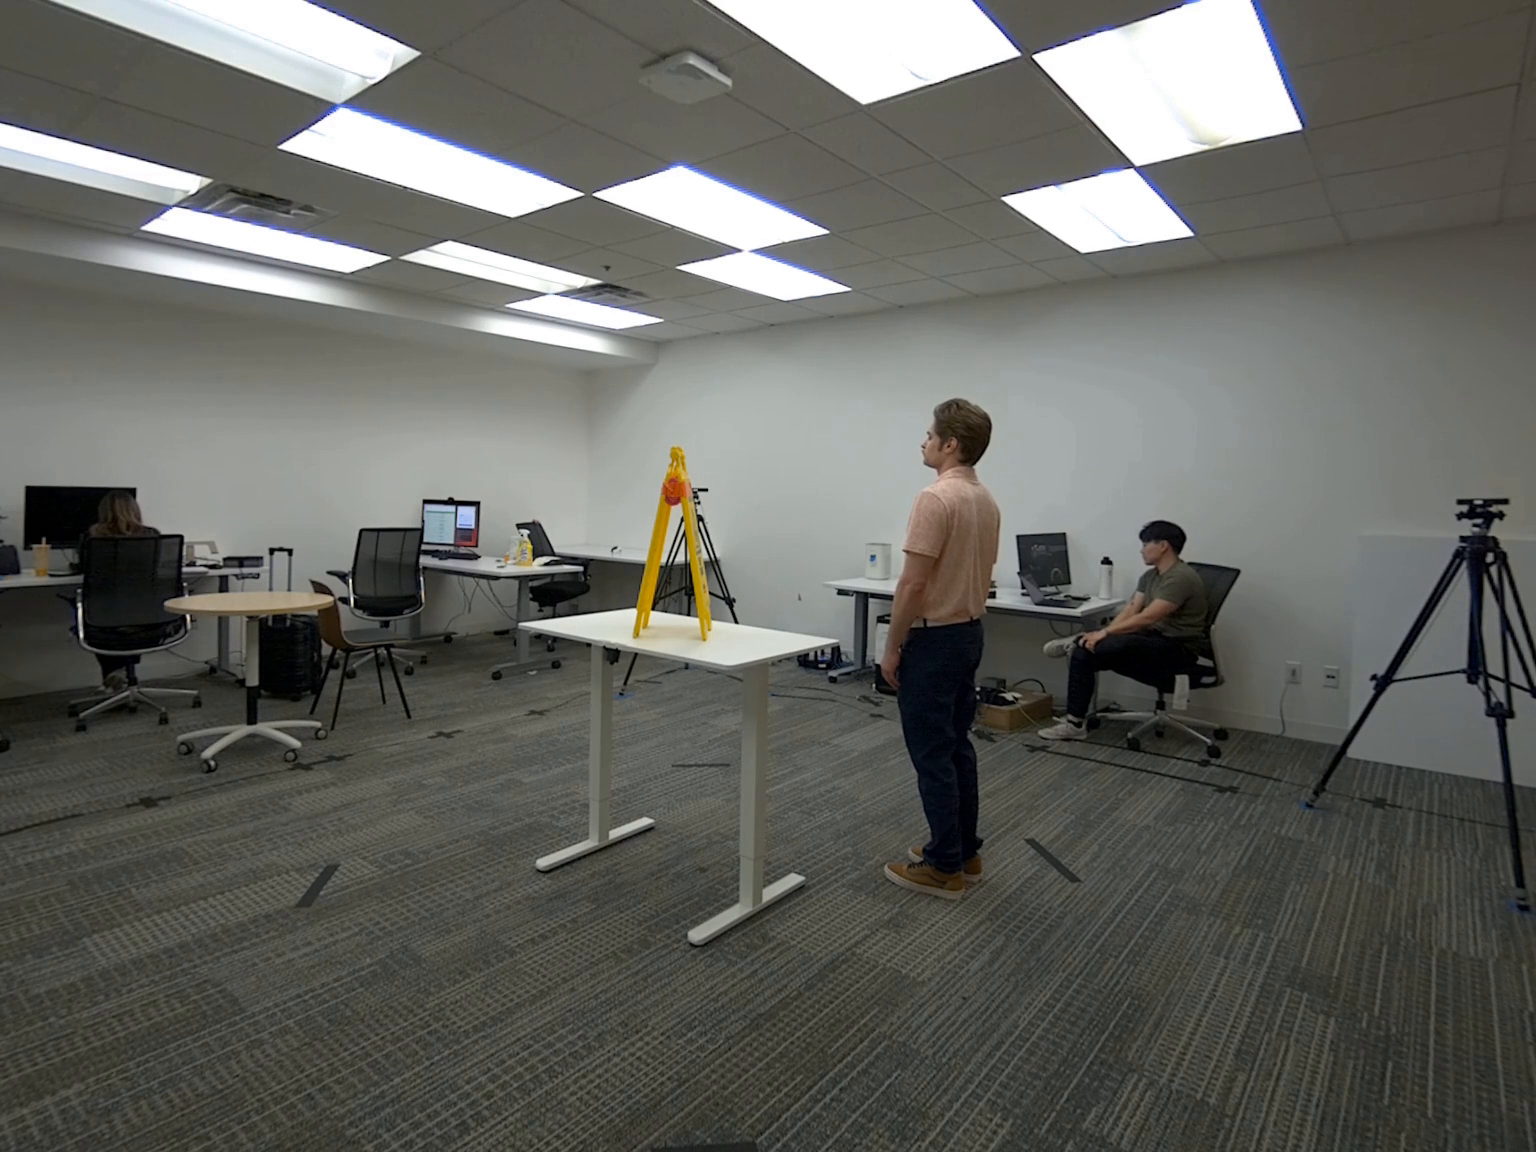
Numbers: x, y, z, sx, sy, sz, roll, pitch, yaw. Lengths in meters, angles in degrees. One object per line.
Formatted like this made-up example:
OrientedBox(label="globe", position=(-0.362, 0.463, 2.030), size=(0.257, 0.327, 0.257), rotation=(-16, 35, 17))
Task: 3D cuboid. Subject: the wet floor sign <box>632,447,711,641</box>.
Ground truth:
OrientedBox(label="wet floor sign", position=(-0.330, -0.125, 2.971), size=(0.290, 0.643, 0.283), rotation=(2, 5, 1))
